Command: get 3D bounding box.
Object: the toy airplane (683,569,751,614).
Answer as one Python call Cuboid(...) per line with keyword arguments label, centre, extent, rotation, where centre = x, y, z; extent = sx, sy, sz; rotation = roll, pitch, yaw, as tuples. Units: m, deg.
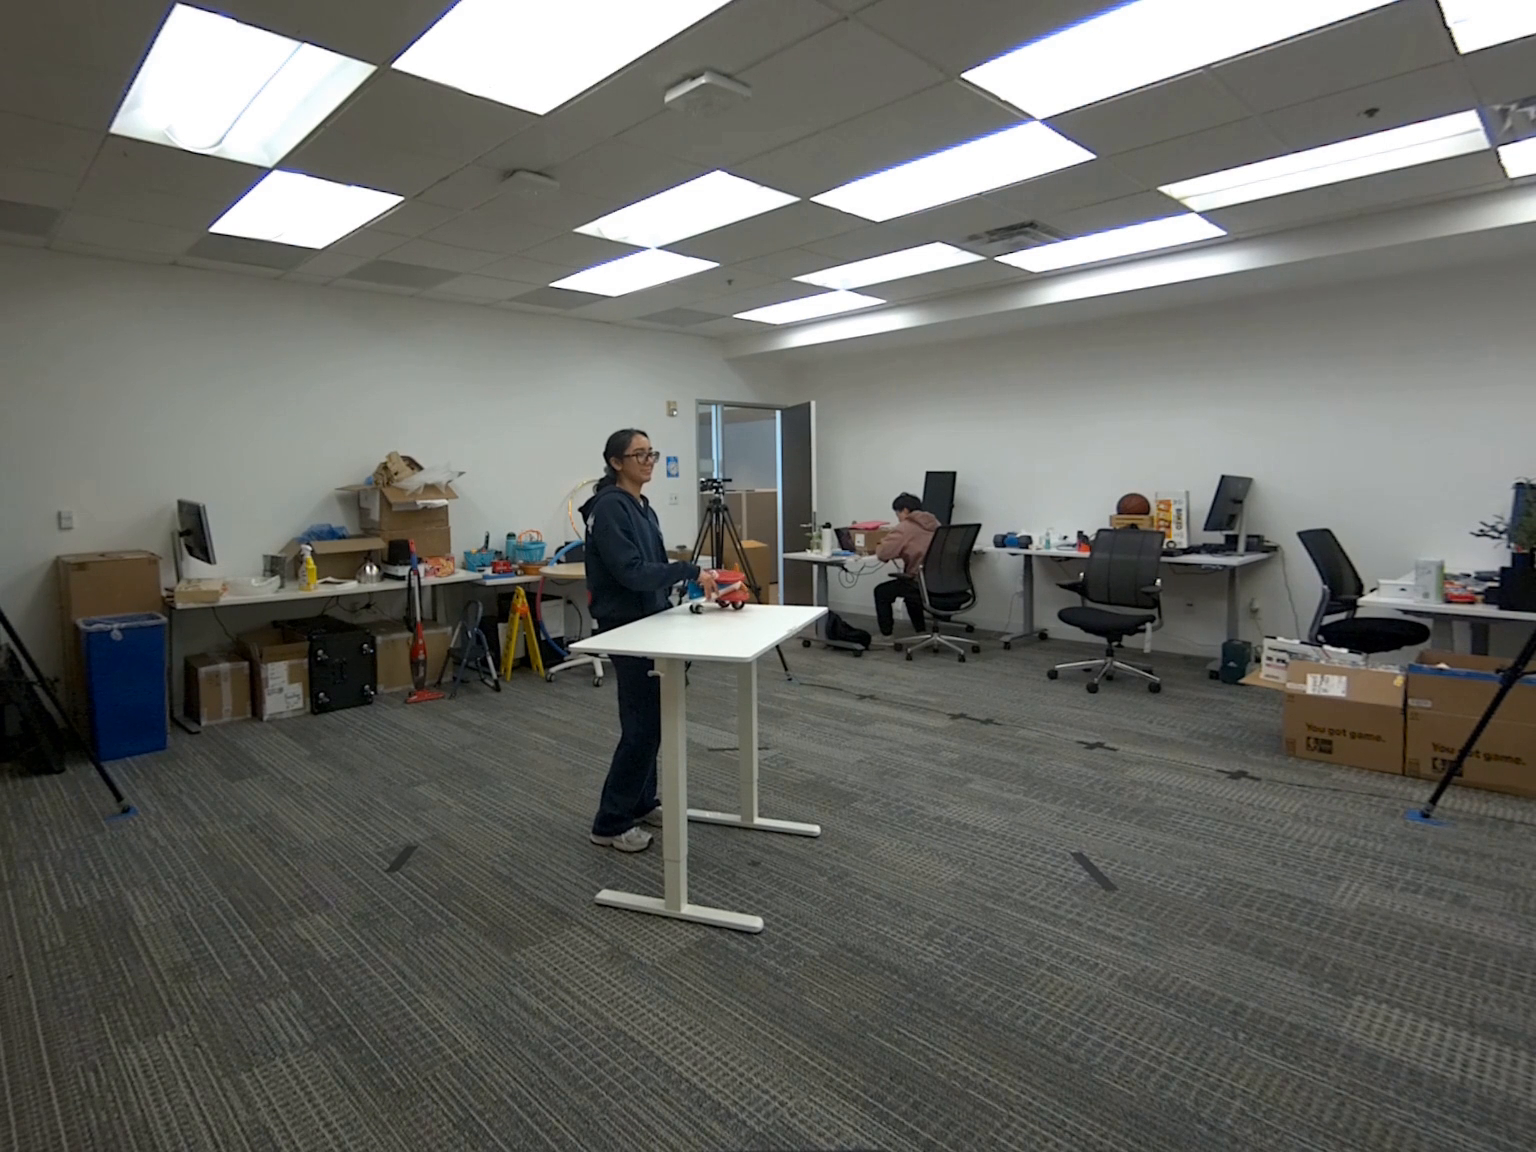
Cuboid(label="toy airplane", centre=(-0.197, 0.064, 3.338), extent=(0.256, 0.156, 0.255), rotation=(1, 5, 19))
